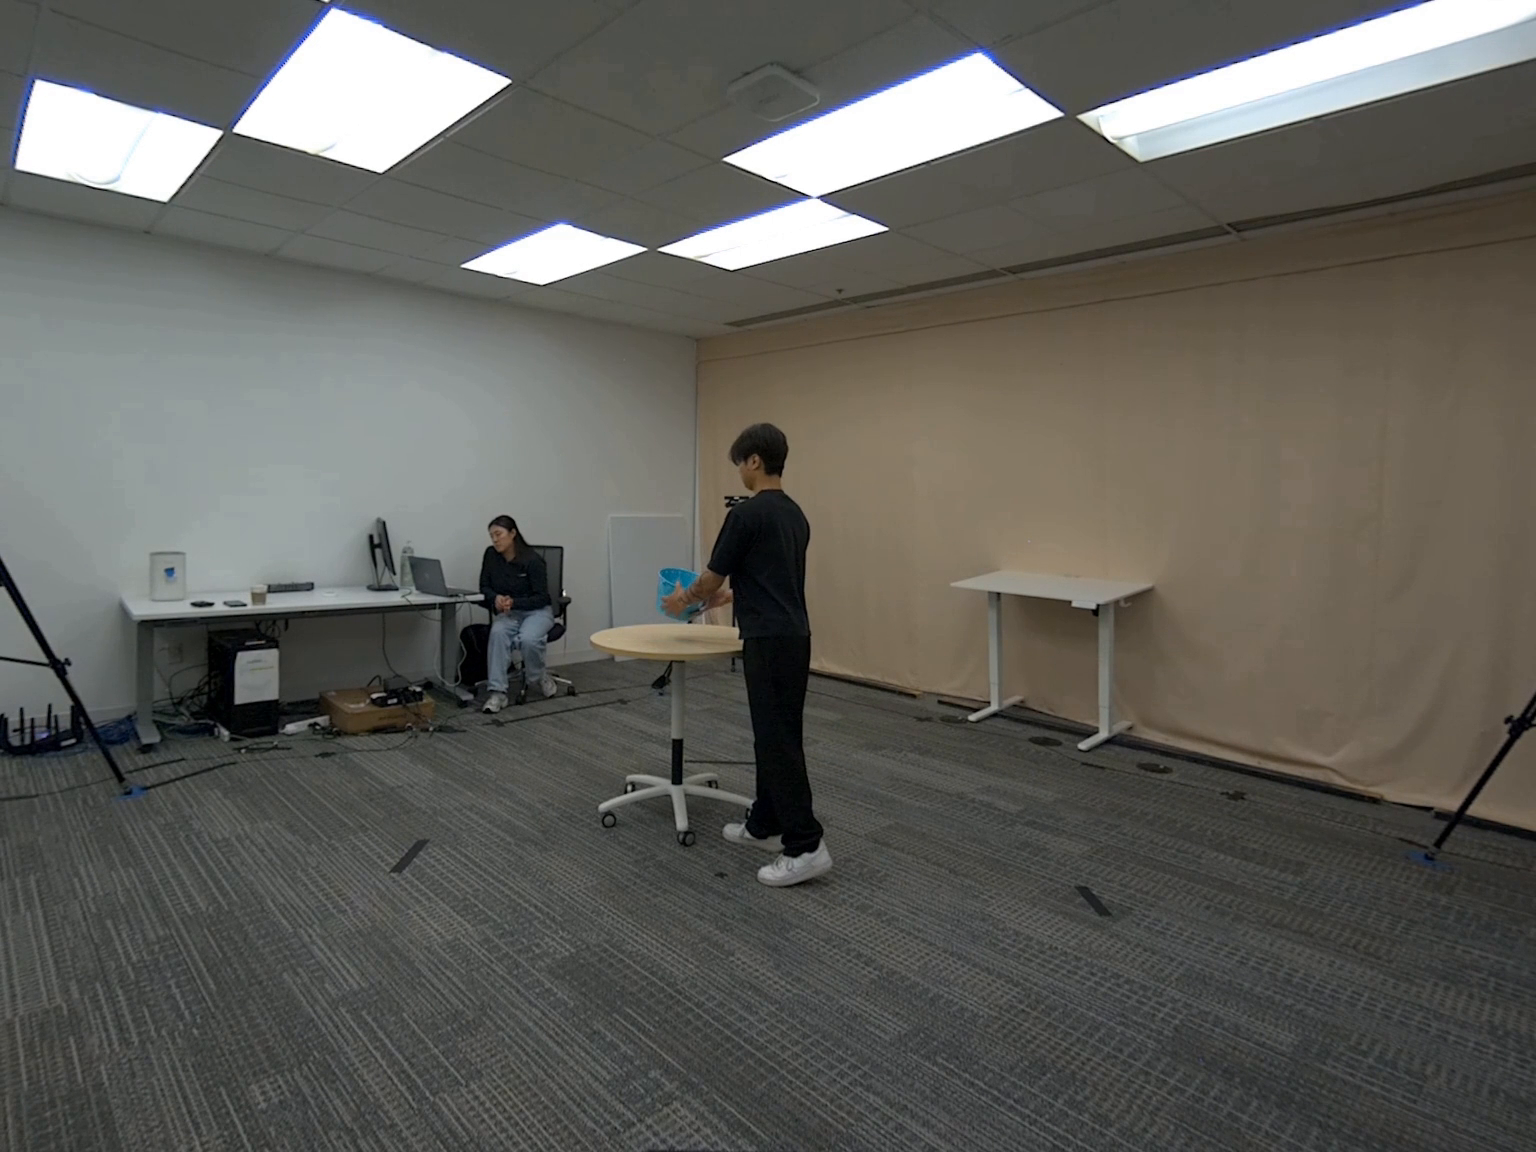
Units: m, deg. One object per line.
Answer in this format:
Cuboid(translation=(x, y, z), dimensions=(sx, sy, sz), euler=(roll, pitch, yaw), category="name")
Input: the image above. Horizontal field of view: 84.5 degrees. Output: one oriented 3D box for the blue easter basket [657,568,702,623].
Cuboid(translation=(-0.363, 0.082, 3.561), dimensions=(0.242, 0.155, 0.246), euler=(13, 15, -5), category="blue easter basket")
